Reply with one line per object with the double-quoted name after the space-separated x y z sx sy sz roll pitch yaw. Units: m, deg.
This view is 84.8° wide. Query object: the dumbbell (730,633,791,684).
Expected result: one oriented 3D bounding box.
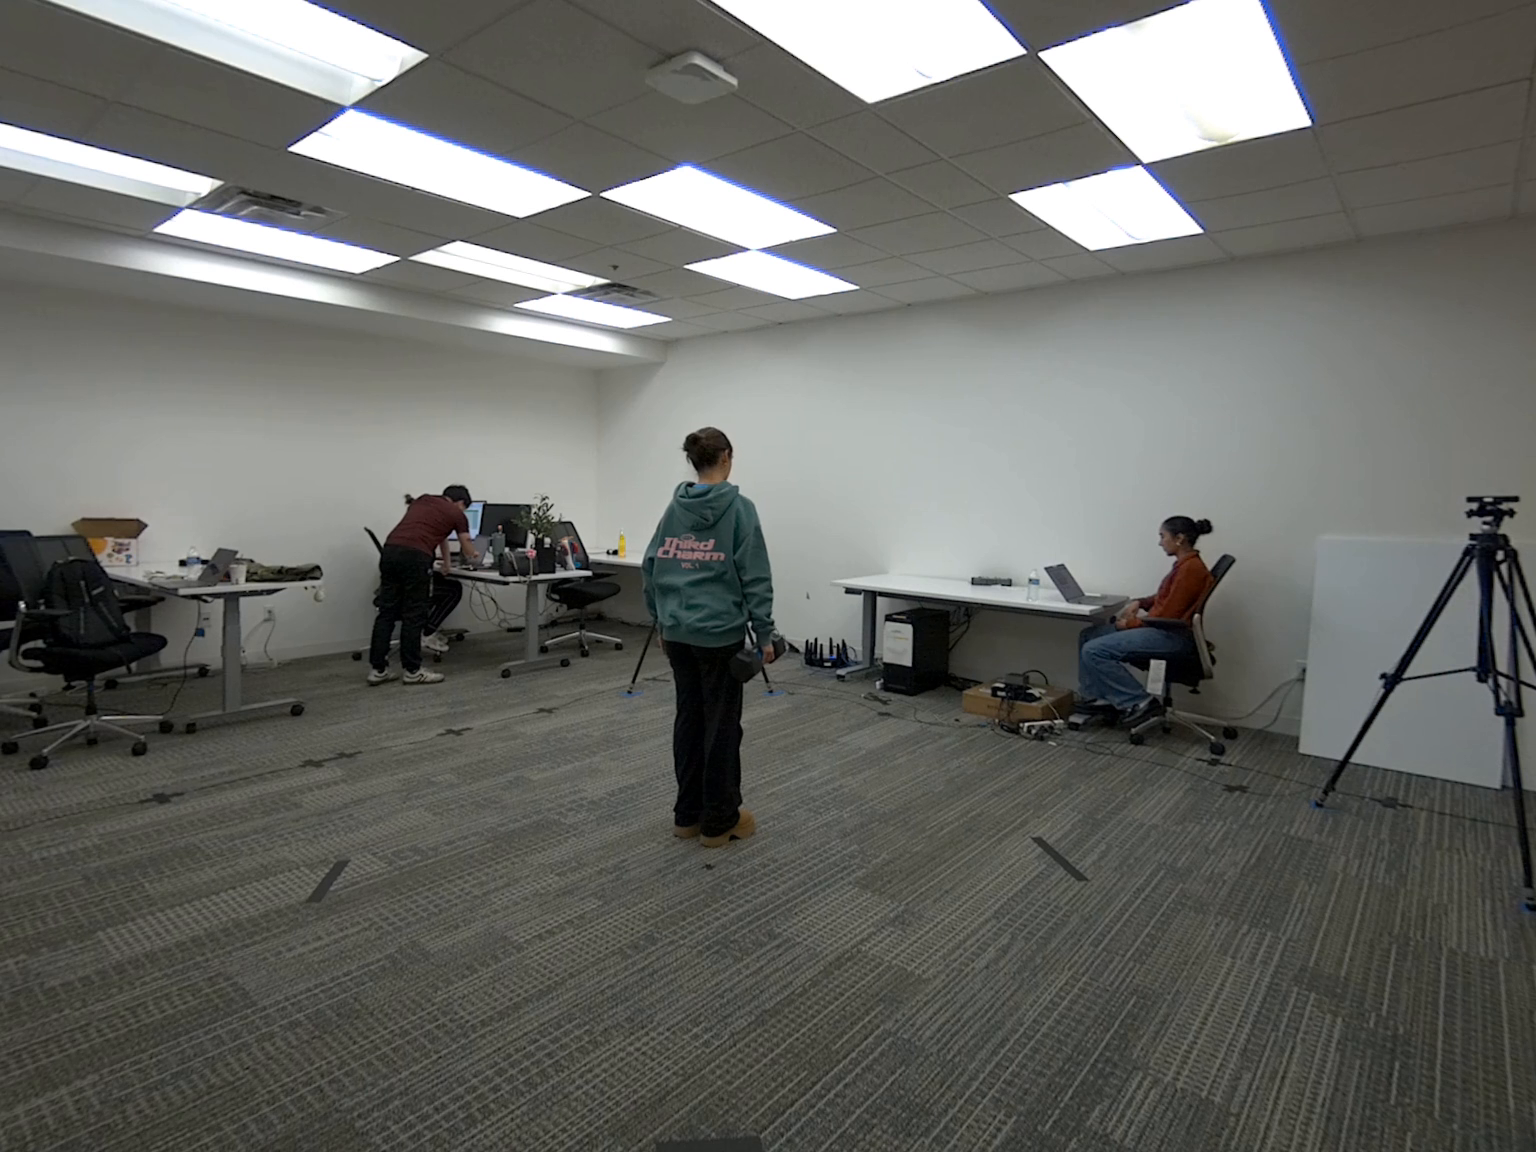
-0.052 0.310 3.321 0.123 0.110 0.289 -46 -8 32 "dumbbell"
